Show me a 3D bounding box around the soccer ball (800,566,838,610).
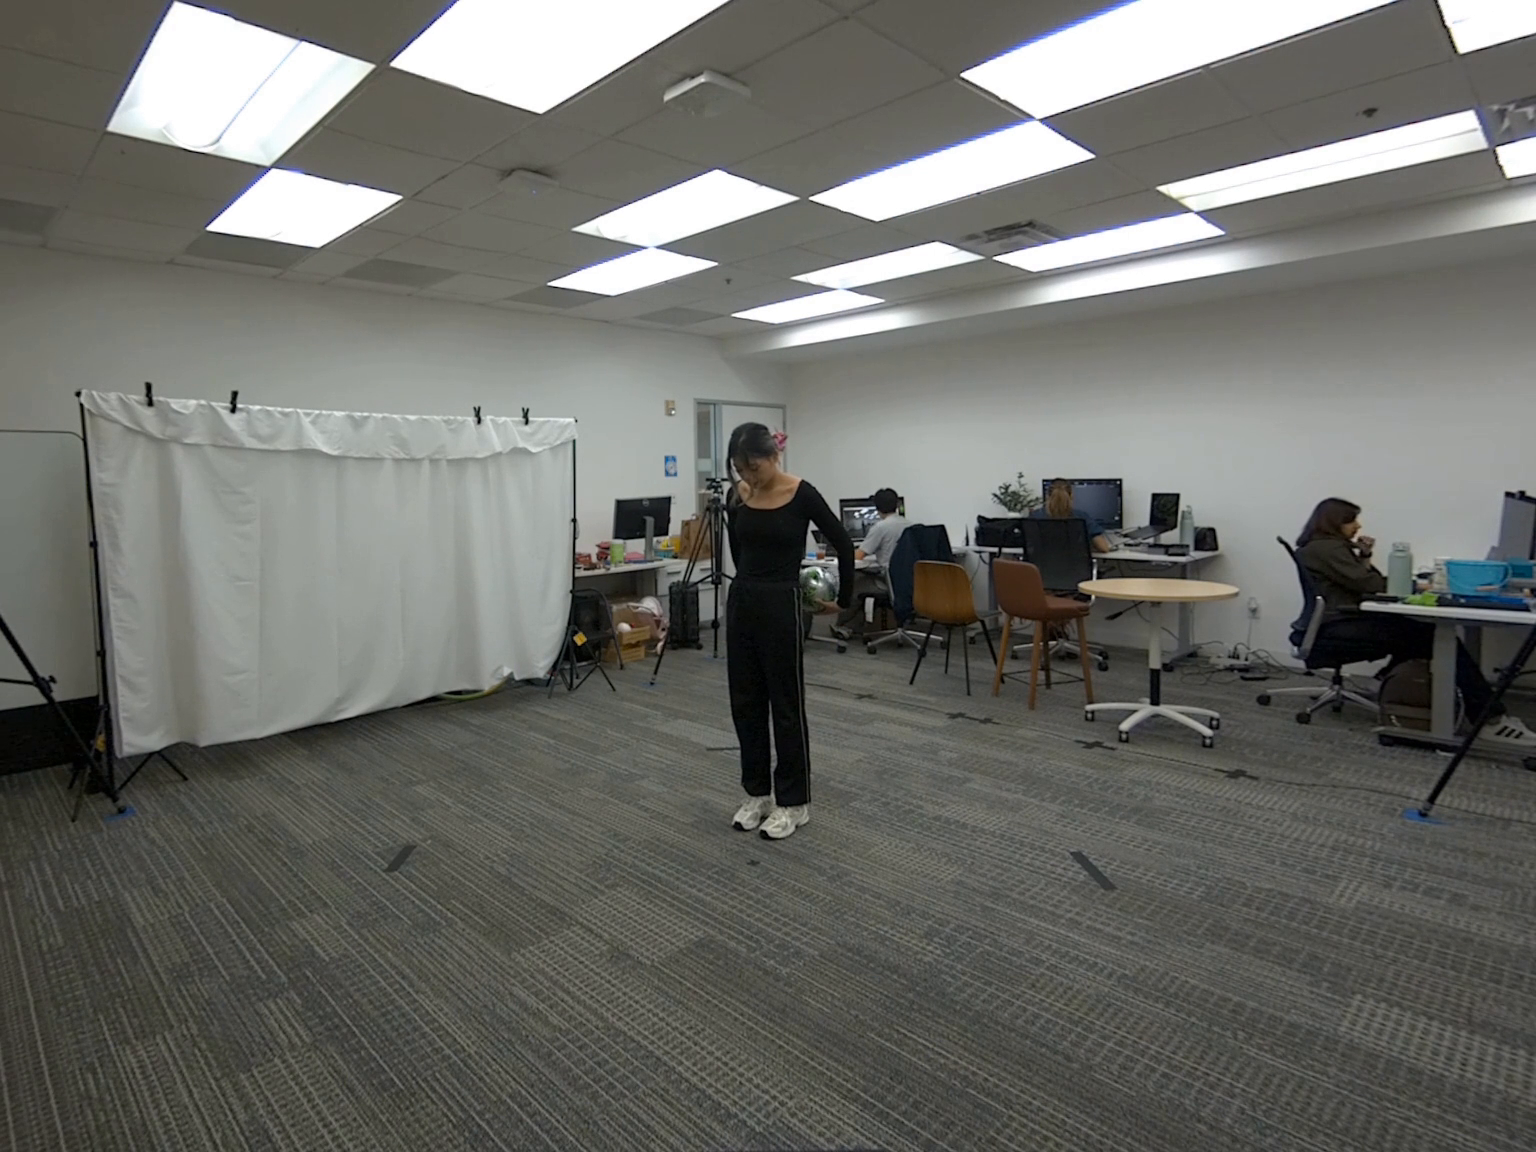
[{"bbox_3d":[0.200,0.055,3.515,0.187,0.187,0.188,-1,5,-2],"label":"soccer ball"}]
